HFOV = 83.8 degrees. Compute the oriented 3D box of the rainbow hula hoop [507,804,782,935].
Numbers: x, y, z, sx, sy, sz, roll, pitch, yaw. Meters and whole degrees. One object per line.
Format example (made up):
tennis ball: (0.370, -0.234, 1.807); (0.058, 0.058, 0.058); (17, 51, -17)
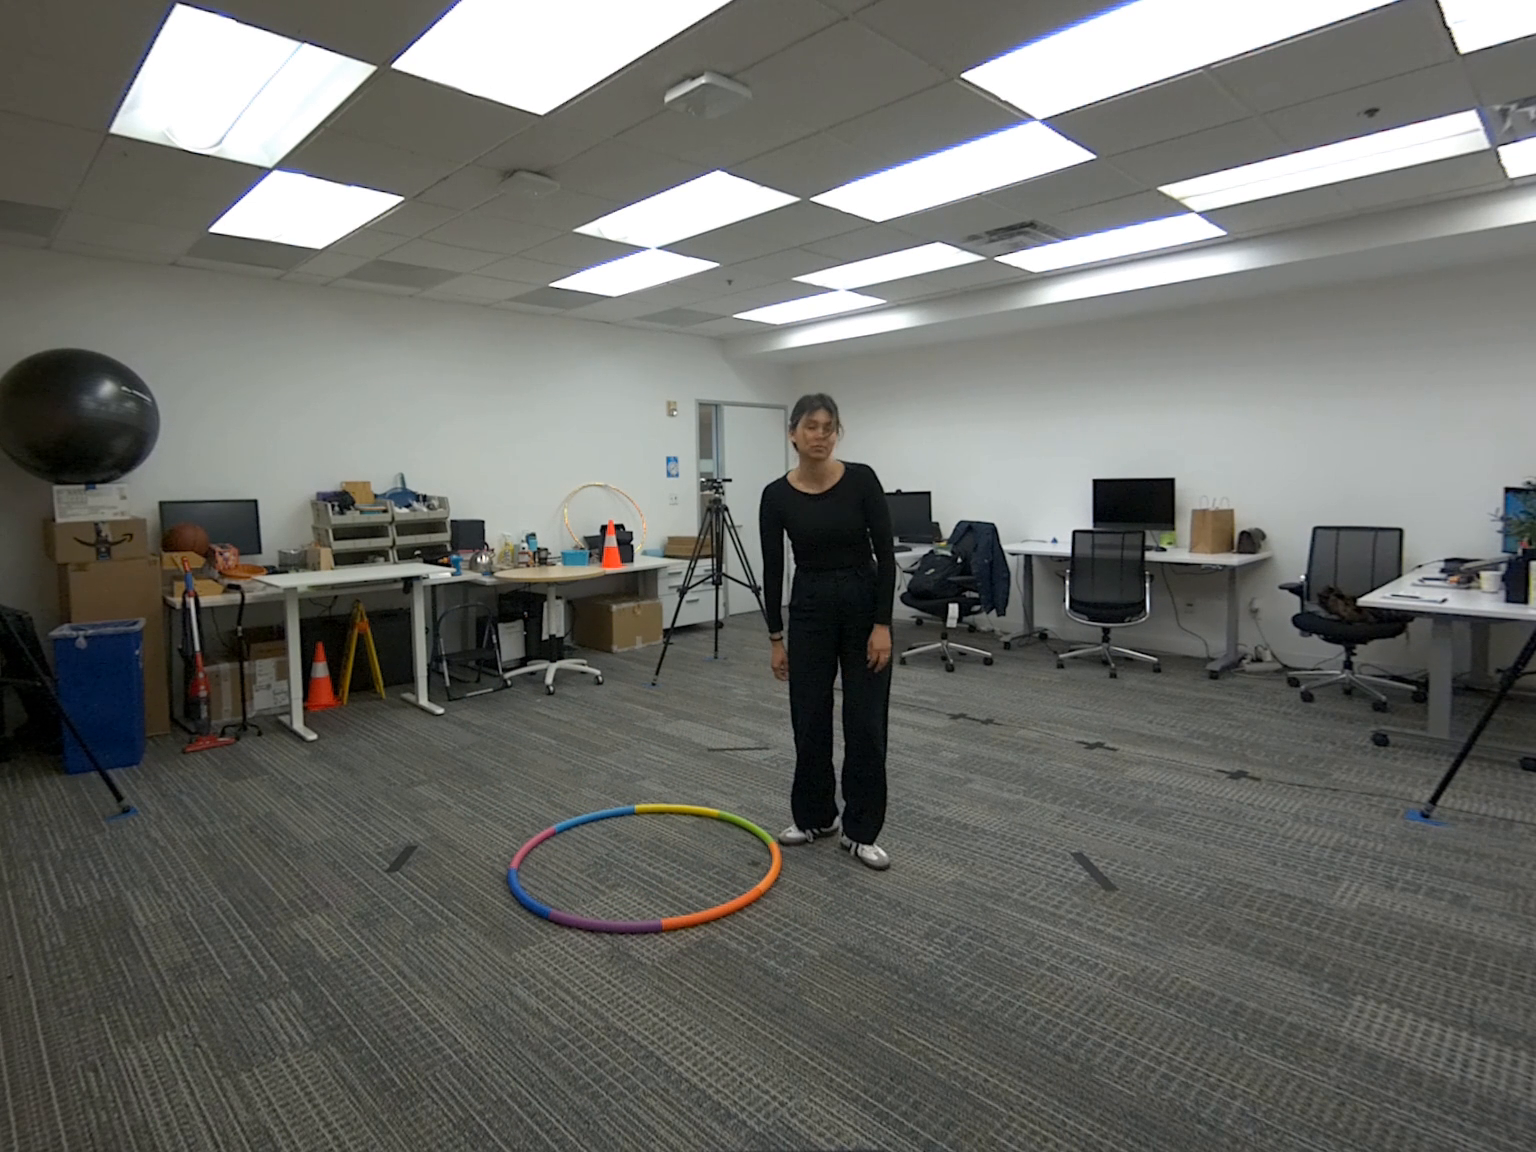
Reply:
rainbow hula hoop: (-0.445, 1.019, 3.125); (0.978, 0.035, 0.984); (-1, 7, -2)
